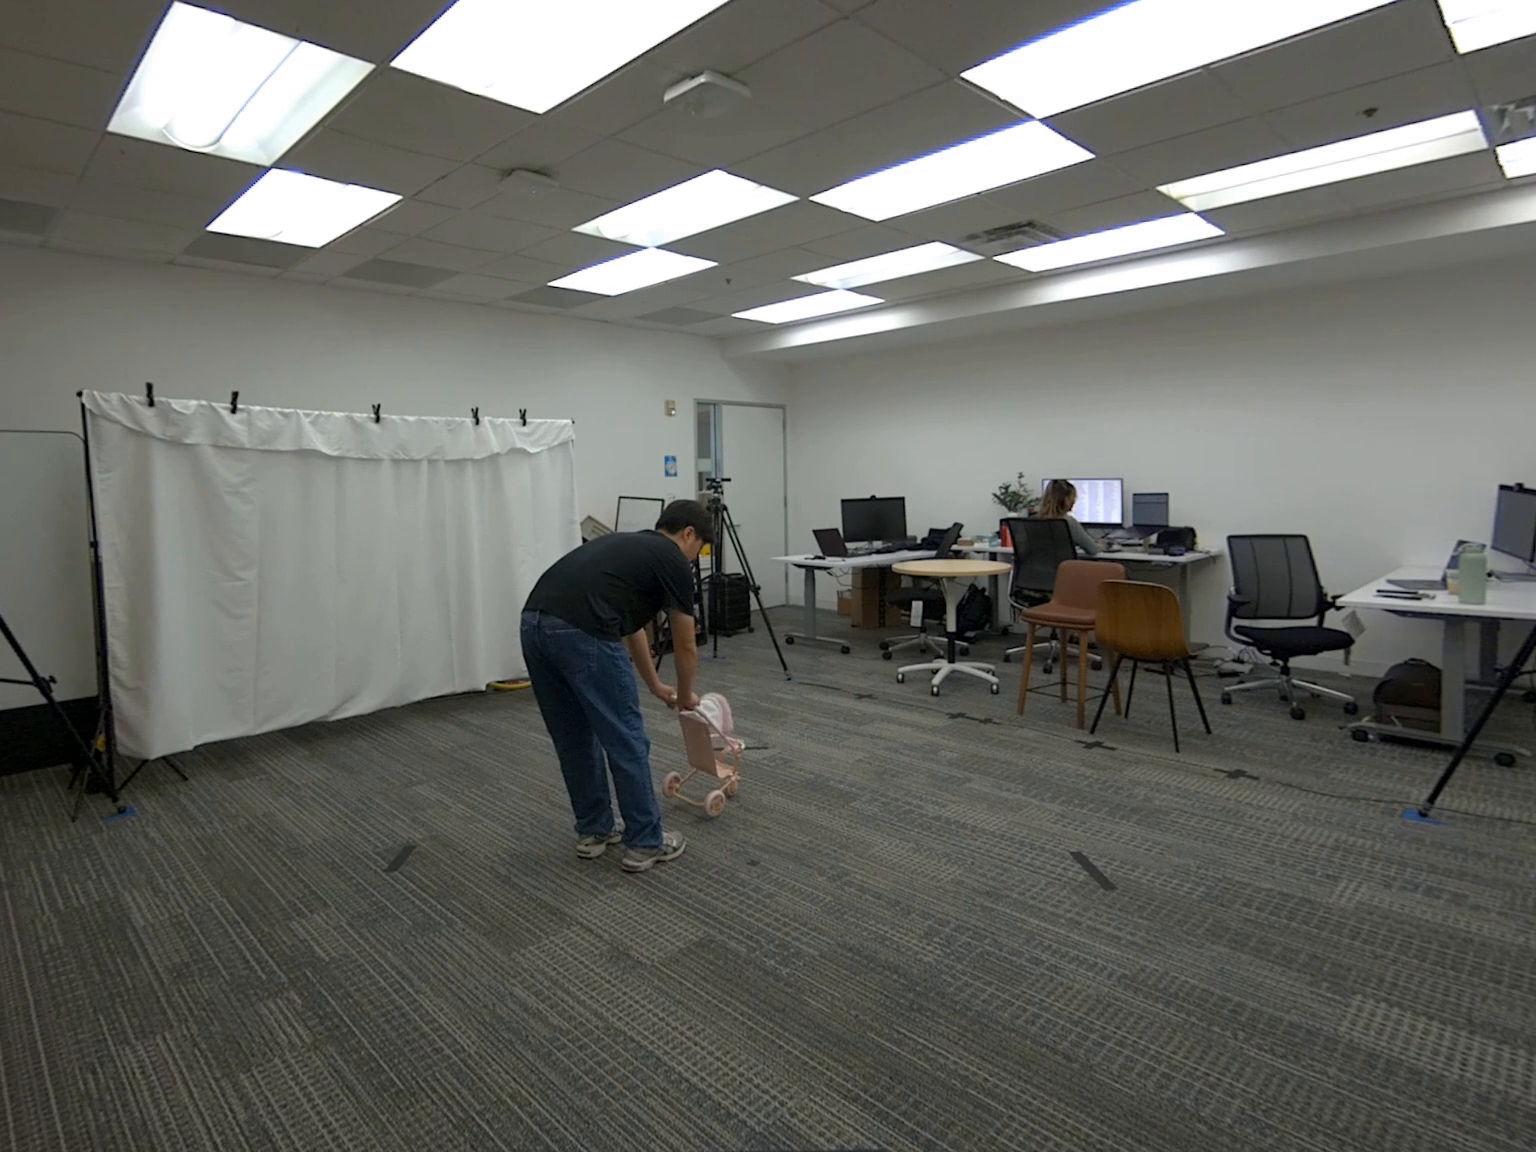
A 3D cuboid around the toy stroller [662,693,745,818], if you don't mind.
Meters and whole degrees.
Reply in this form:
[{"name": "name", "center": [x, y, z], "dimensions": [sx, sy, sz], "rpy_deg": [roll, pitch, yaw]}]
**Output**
[{"name": "toy stroller", "center": [-0.248, 0.740, 3.628], "dimensions": [0.291, 0.529, 0.334], "rpy_deg": [9, 17, 44]}]
